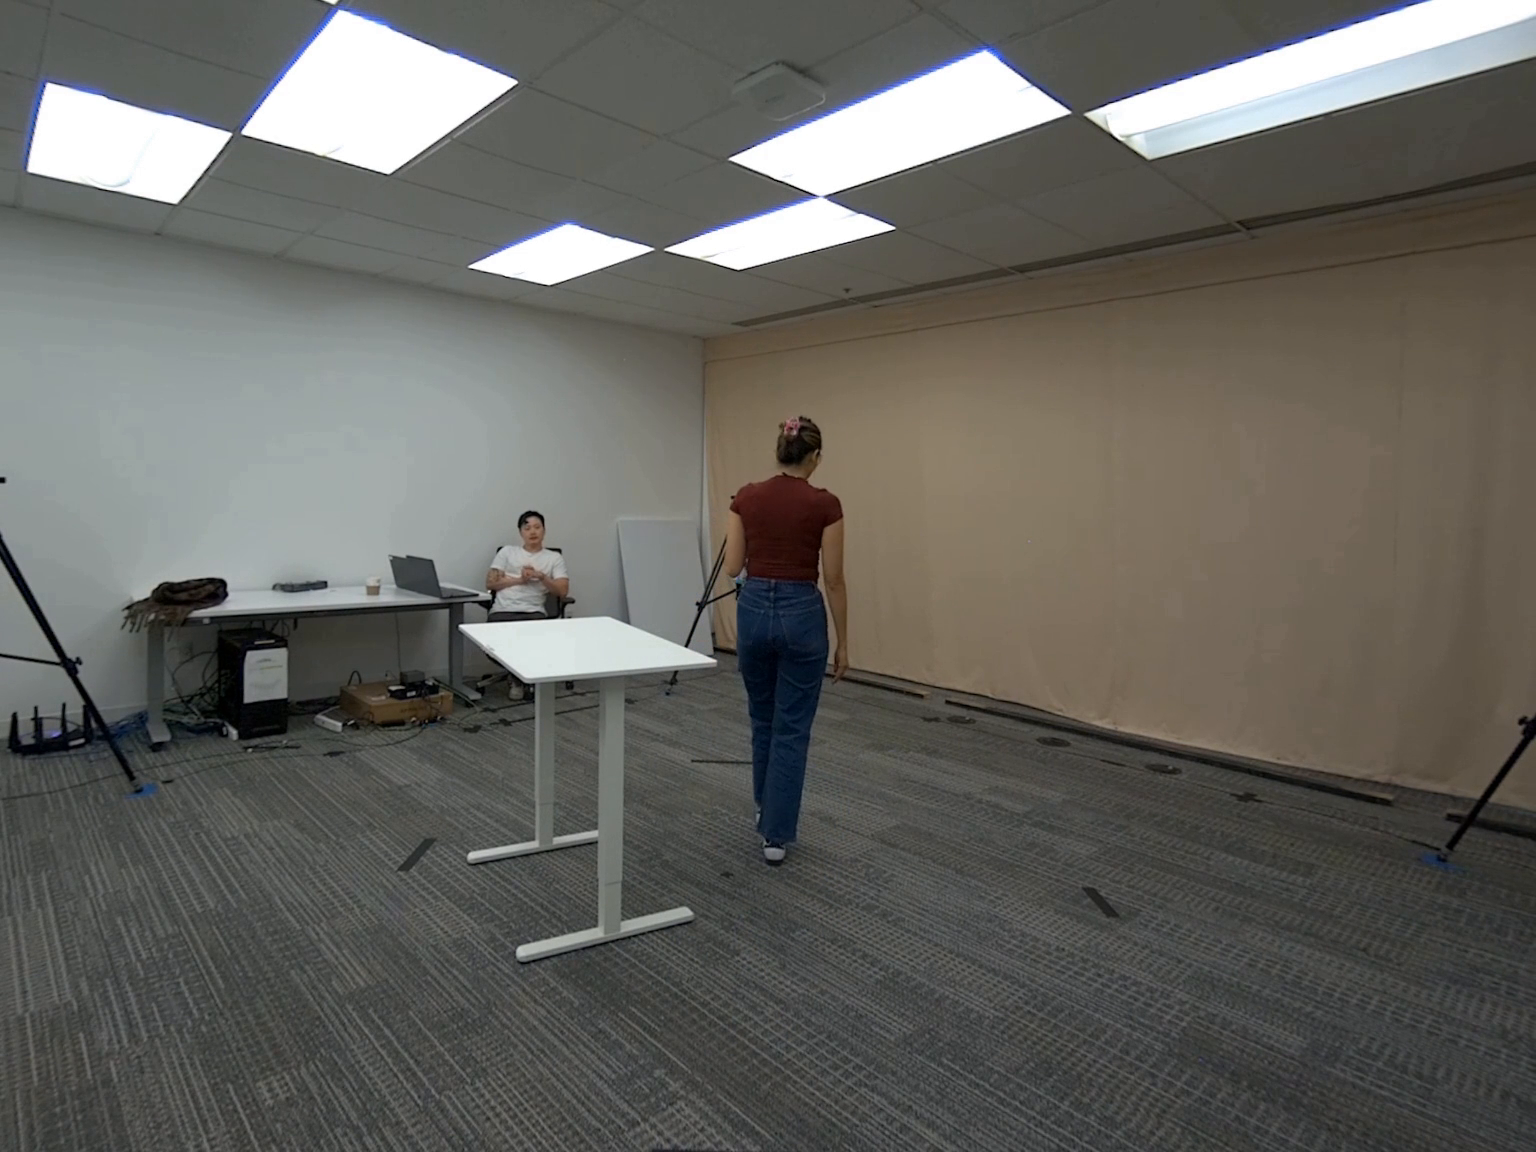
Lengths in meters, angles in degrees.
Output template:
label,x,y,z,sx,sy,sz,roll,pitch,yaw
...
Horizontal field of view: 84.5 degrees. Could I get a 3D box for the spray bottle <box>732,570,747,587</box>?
label,x,y,z,sx,sy,sz,roll,pitch,yaw
spray bottle,-0.103,-0.113,3.585,0.088,0.296,0.089,5,5,21
